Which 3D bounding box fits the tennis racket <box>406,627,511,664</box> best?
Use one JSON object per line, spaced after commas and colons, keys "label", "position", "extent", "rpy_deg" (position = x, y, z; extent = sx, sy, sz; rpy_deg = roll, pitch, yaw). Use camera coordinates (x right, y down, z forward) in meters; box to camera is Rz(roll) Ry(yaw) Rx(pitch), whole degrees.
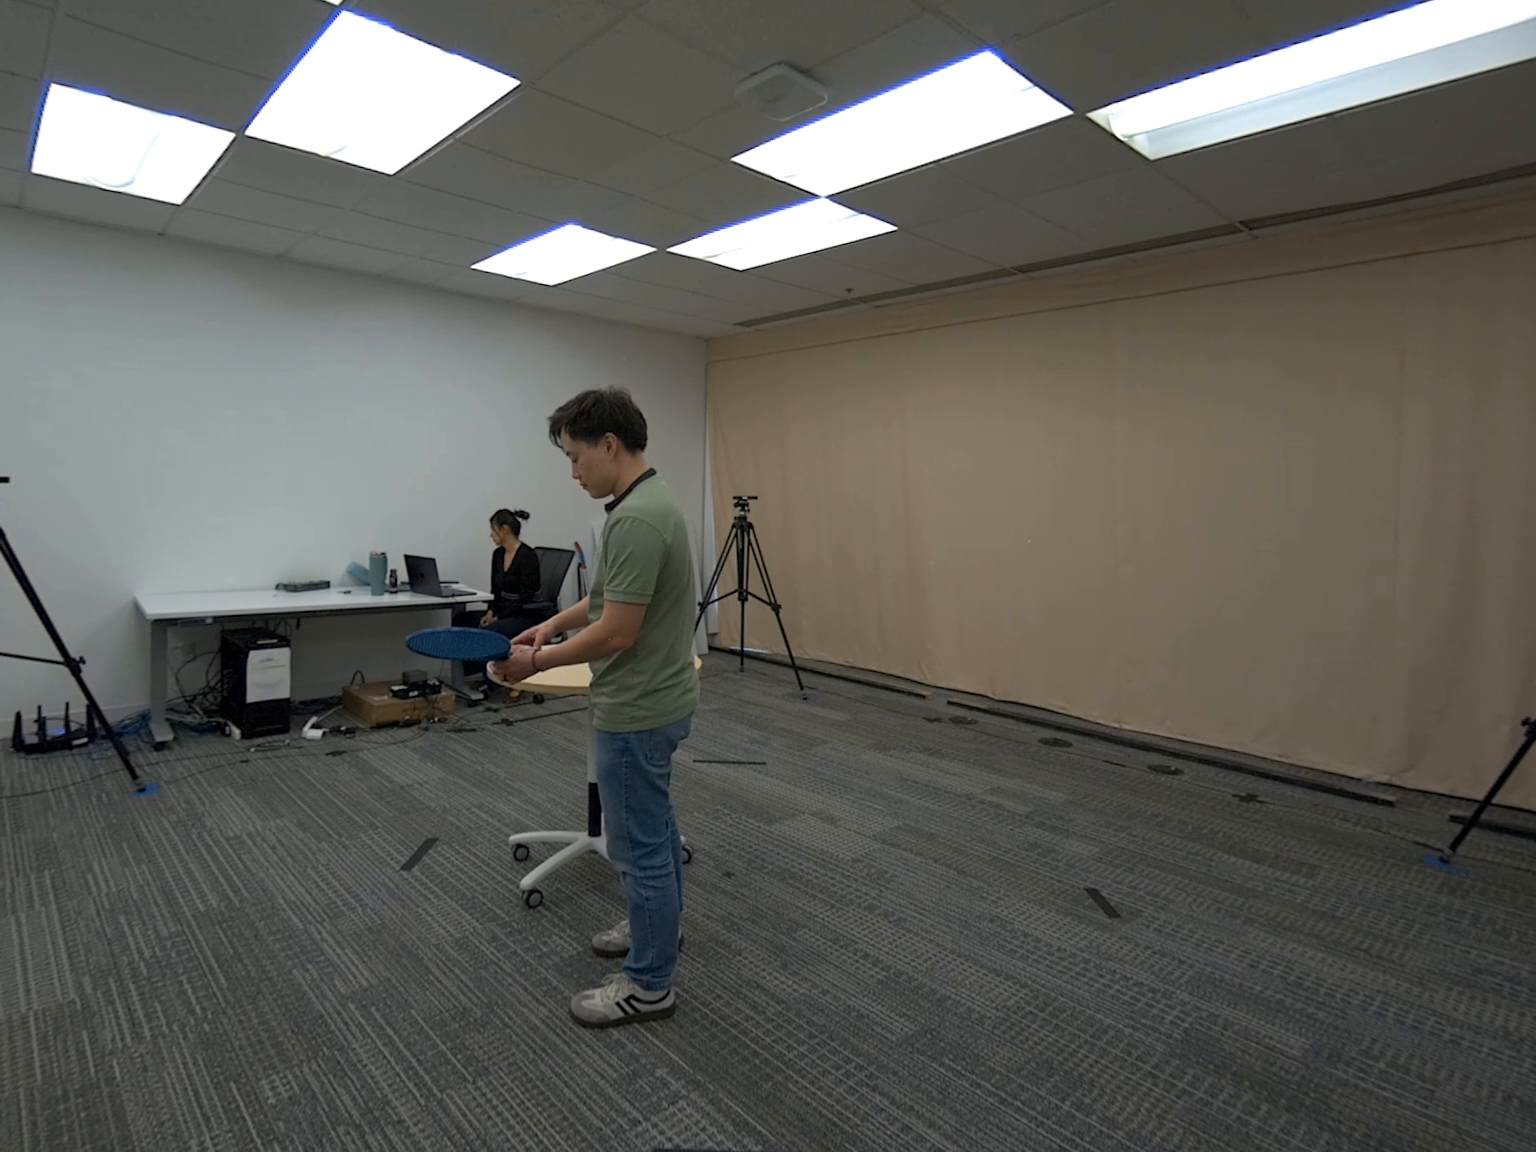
{"label": "tennis racket", "position": [-0.699, 0.192, 2.034], "extent": [0.216, 0.032, 0.421], "rpy_deg": [-15, -20, 19]}
